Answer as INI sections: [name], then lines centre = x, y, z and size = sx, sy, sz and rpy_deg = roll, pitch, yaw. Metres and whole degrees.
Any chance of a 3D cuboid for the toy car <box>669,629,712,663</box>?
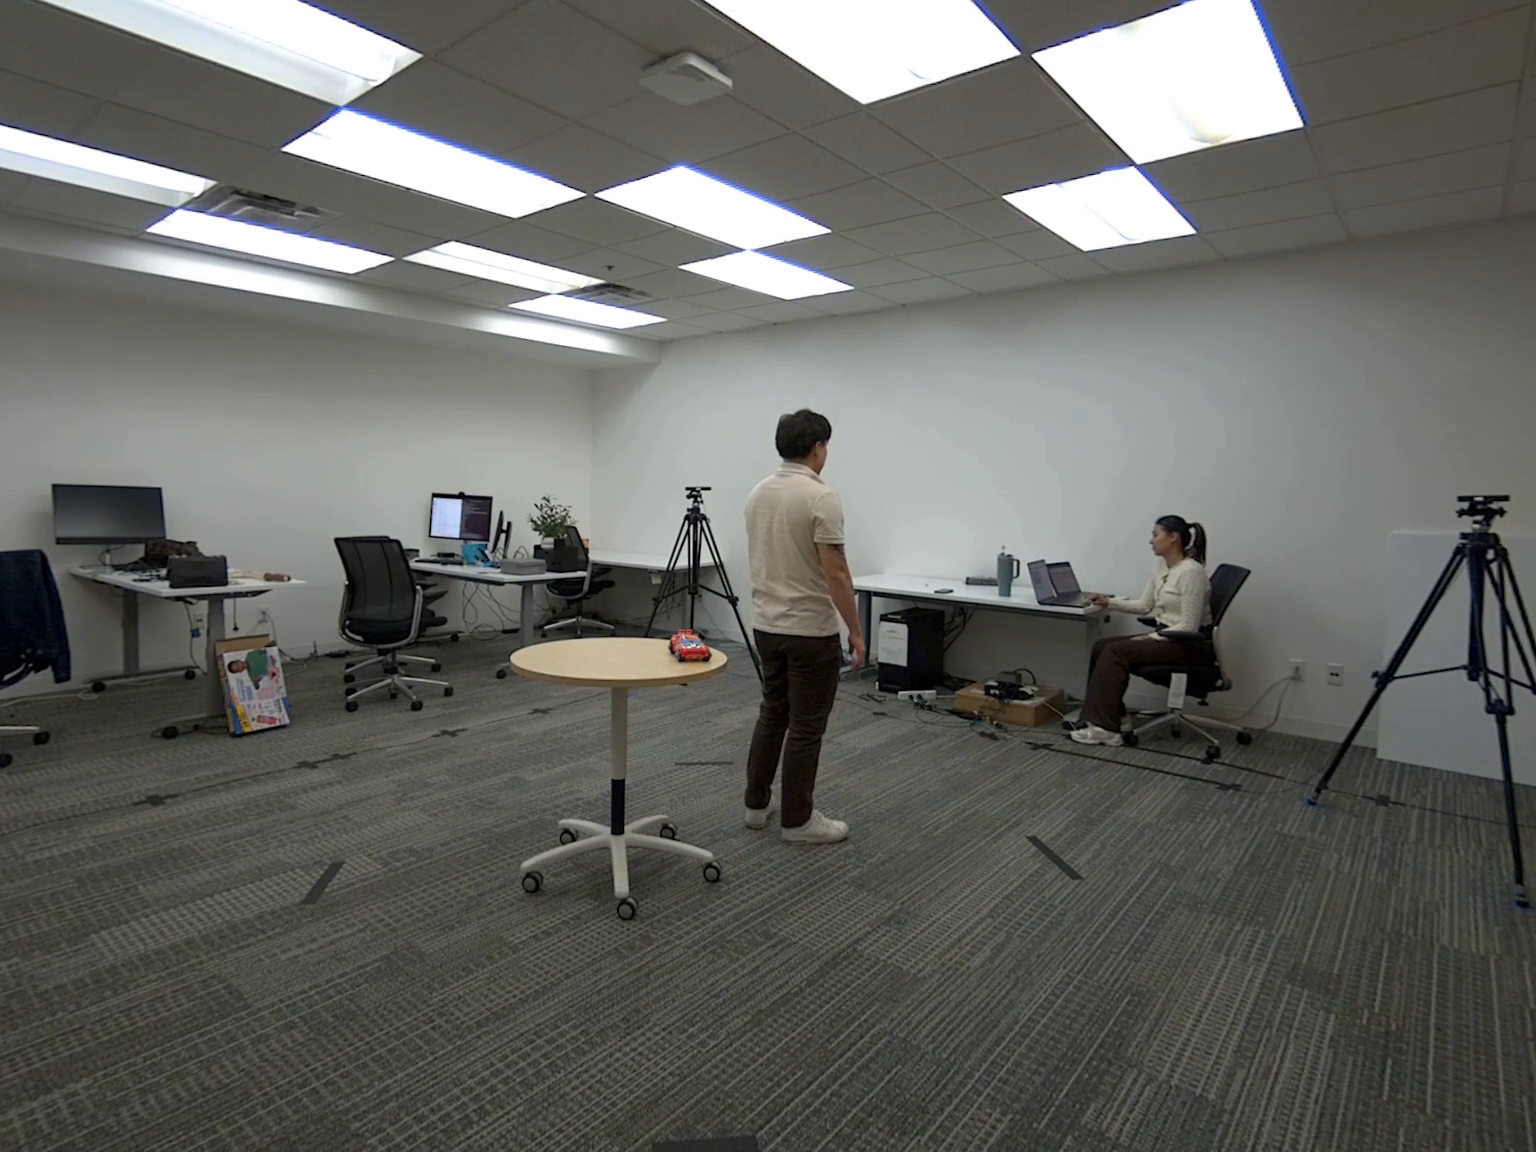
[toy car]
centre = -0.301, 0.255, 3.068
size = 0.128, 0.082, 0.261
rpy_deg = 1, 16, -15
